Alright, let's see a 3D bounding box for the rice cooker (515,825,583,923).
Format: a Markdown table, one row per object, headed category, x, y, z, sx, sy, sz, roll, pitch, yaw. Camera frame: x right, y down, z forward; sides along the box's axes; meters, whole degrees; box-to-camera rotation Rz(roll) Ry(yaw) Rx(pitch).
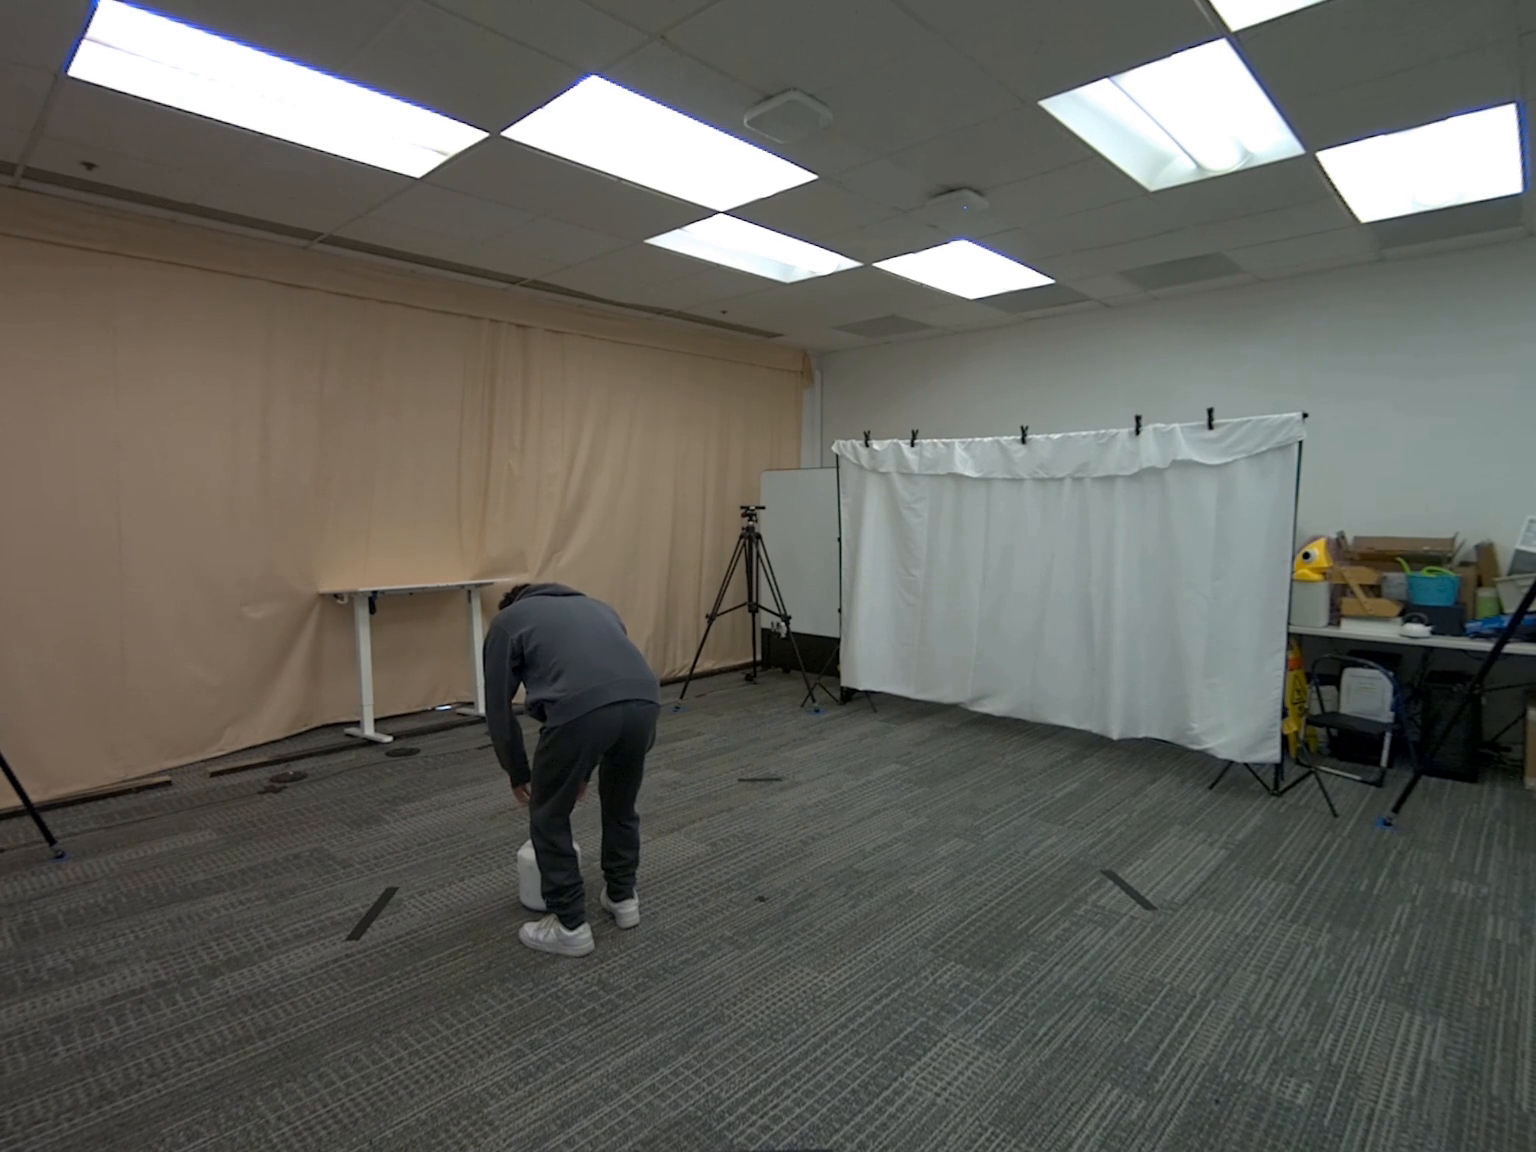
| category | x | y | z | sx | sy | sz | roll | pitch | yaw |
| --- | --- | --- | --- | --- | --- | --- | --- | --- | --- |
| rice cooker | -0.774 | 1.036 | 2.973 | 0.217 | 0.232 | 0.221 | -1 | 2 | -16 |
